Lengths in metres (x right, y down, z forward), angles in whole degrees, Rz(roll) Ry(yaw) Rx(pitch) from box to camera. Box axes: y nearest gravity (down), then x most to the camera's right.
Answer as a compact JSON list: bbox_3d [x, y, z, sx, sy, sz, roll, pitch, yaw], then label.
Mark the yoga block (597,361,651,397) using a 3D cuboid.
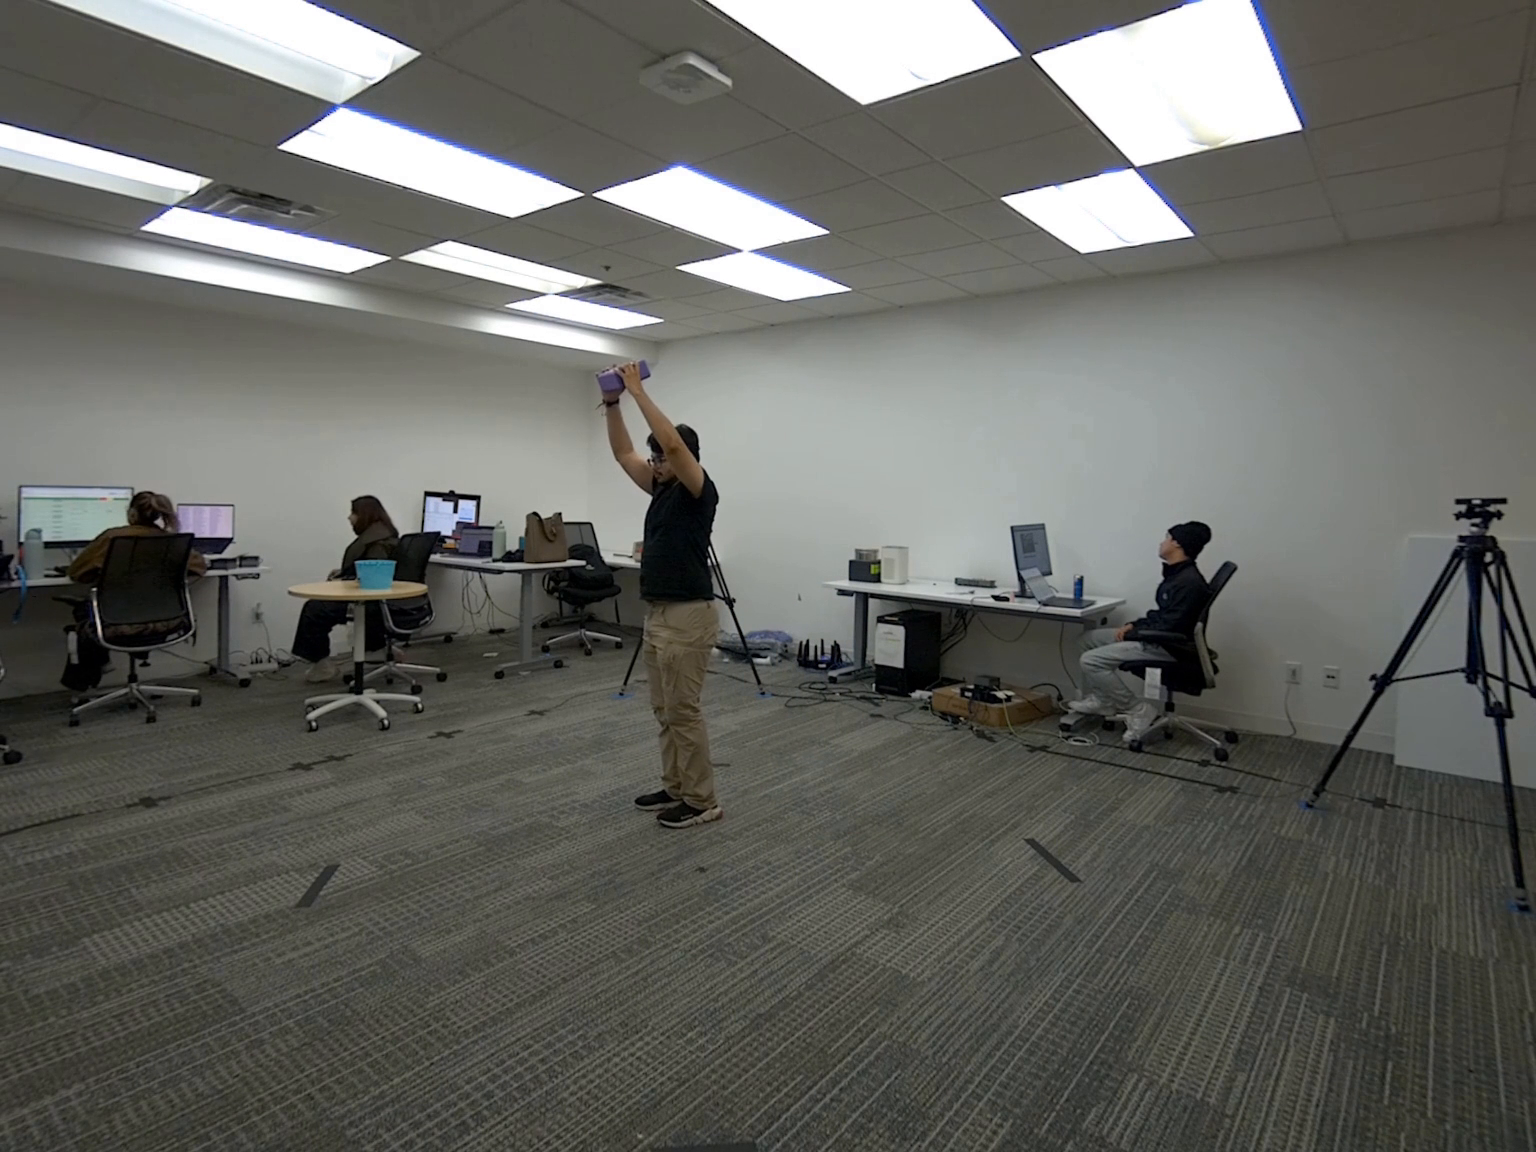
[{"bbox_3d":[-0.612,-0.835,3.535,0.147,0.075,0.236,-30,20,-24],"label":"yoga block"}]
